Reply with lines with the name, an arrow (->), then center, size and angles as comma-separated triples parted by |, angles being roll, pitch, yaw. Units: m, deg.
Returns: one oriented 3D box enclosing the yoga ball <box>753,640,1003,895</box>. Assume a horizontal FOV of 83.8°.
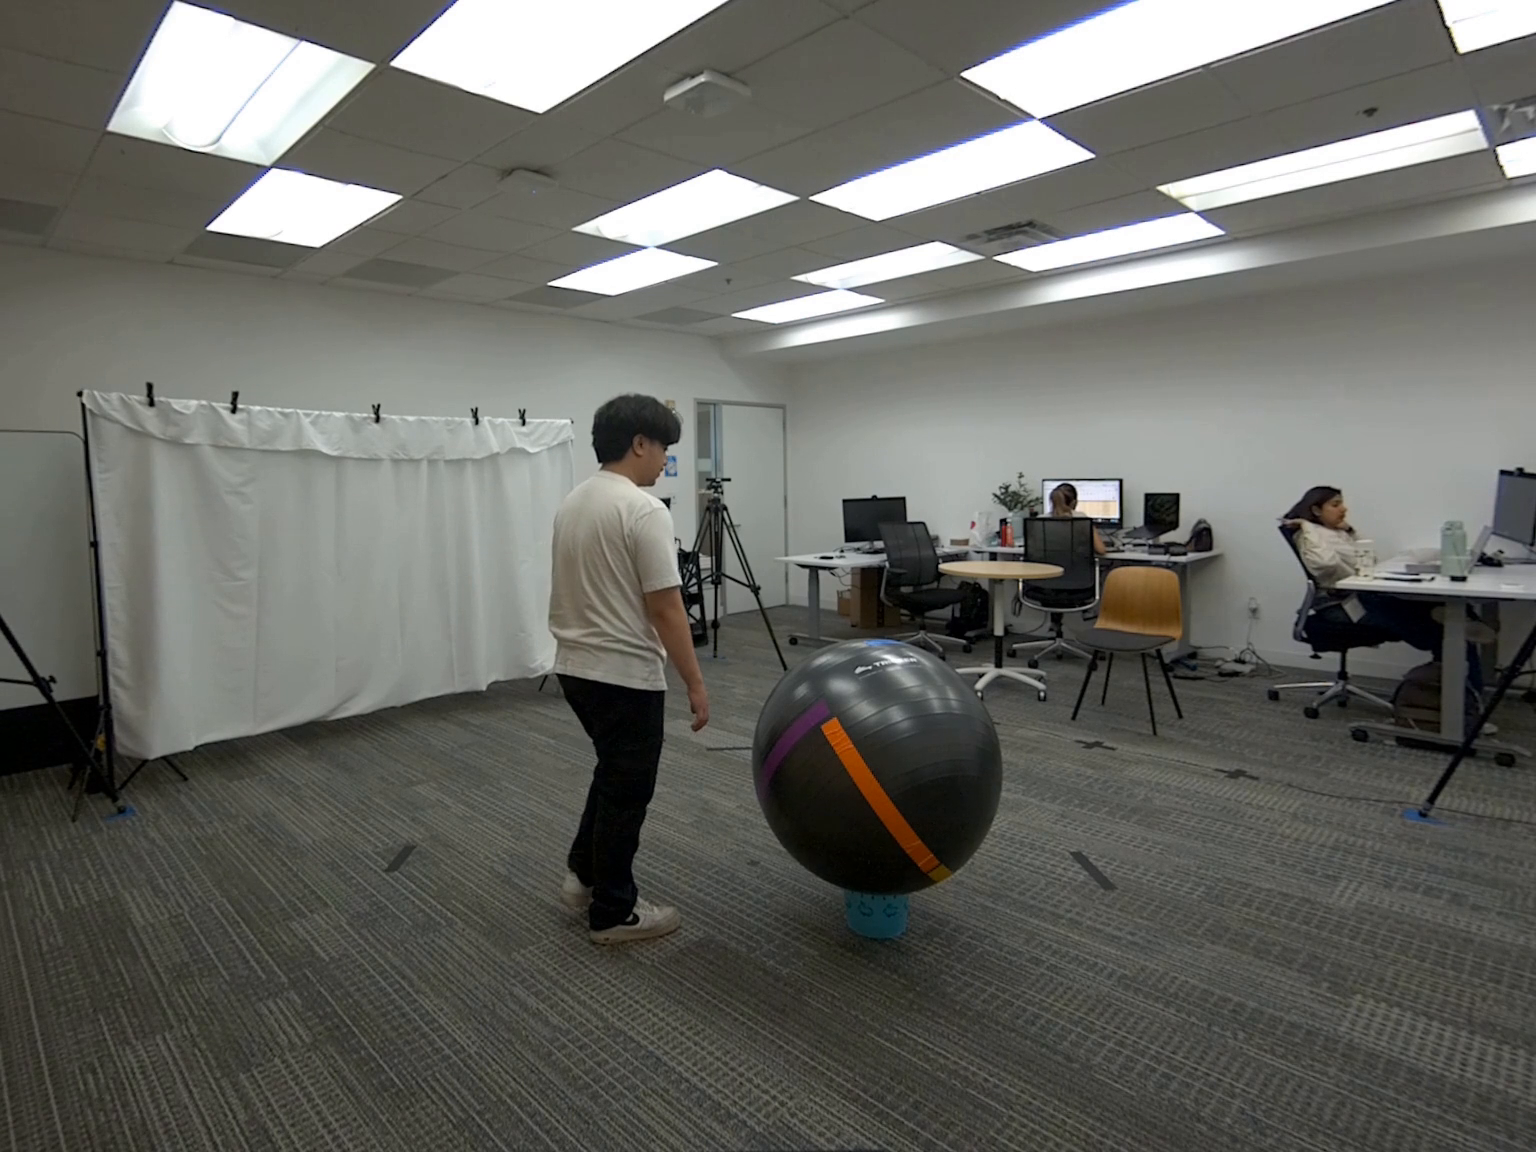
yoga ball -> 0.331, 0.578, 2.641 | 0.757, 0.755, 0.762 | -1, 5, -2
